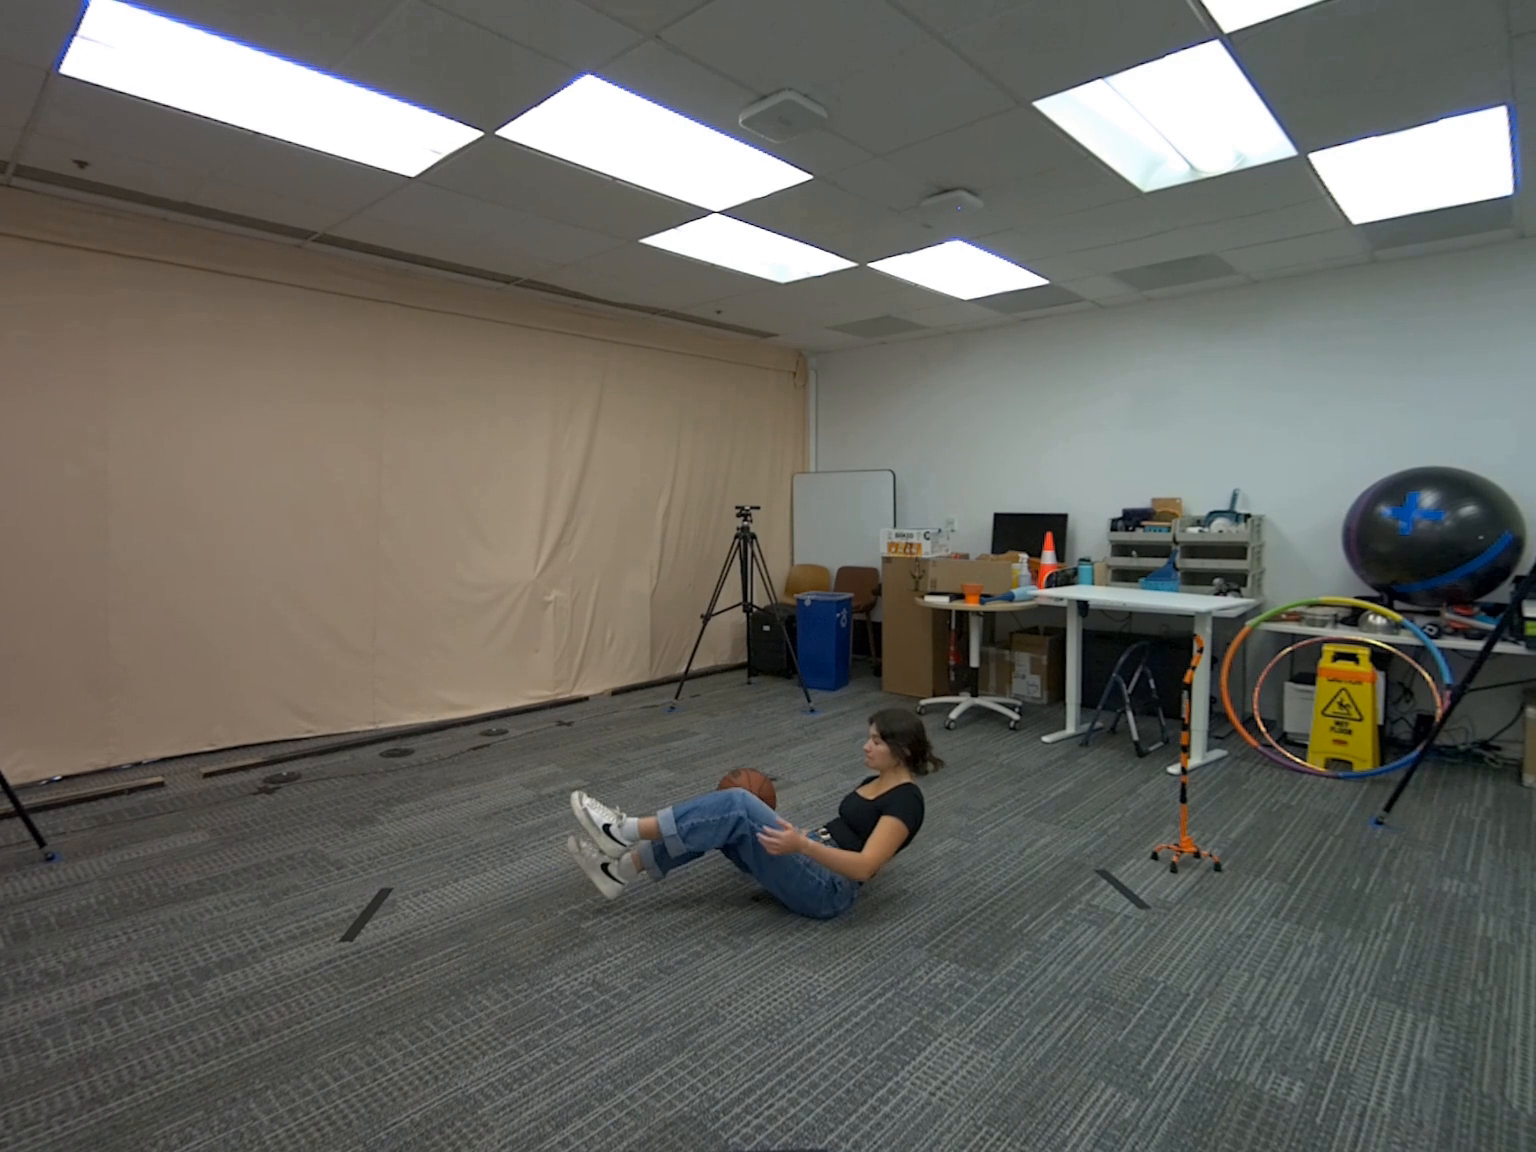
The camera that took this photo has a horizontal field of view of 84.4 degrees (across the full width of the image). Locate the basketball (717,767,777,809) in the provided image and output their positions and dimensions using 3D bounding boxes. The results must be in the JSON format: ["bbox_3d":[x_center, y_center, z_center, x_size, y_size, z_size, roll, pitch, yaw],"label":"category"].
[{"bbox_3d":[-0.088,0.860,3.248,0.236,0.235,0.237,0,4,-2],"label":"basketball"}]
